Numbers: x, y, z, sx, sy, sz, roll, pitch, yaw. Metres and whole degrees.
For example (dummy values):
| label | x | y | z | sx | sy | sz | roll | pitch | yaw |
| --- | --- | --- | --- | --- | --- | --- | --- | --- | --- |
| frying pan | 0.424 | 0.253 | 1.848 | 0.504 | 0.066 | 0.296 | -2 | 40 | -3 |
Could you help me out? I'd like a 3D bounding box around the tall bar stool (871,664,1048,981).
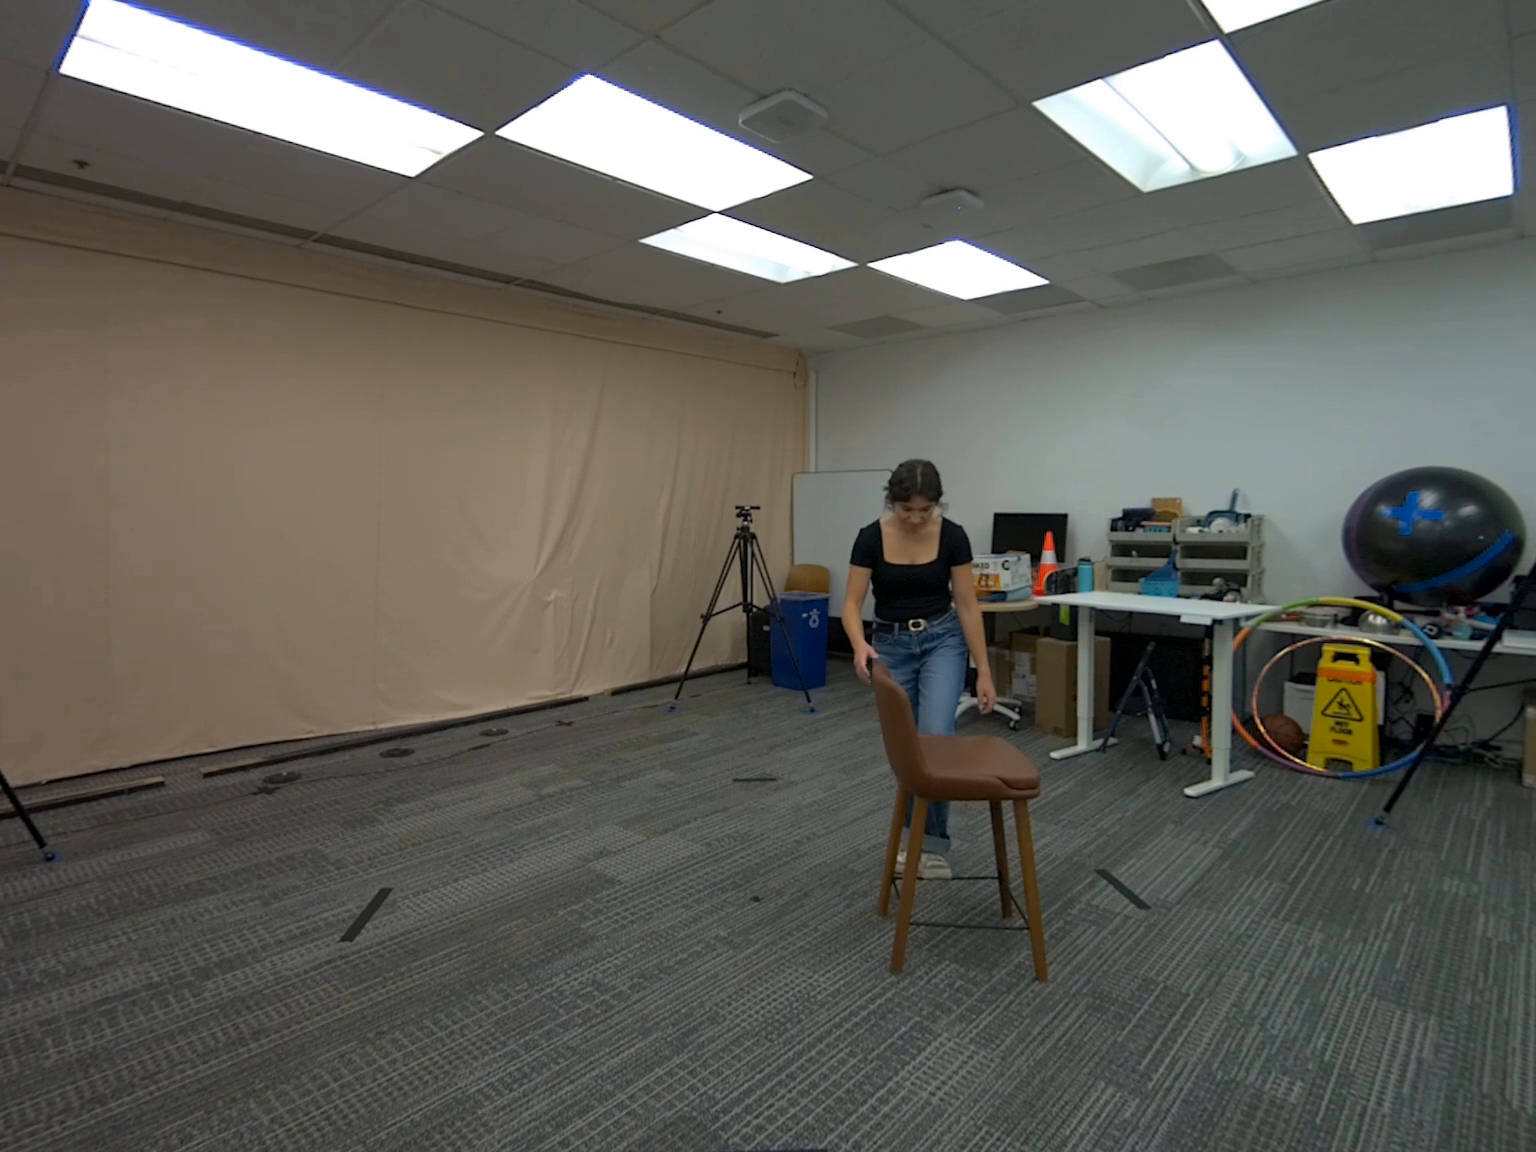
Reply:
| label | x | y | z | sx | sy | sz | roll | pitch | yaw |
| --- | --- | --- | --- | --- | --- | --- | --- | --- | --- |
| tall bar stool | 0.594 | 0.737 | 2.650 | 0.470 | 0.887 | 0.455 | -2 | 4 | 4 |
